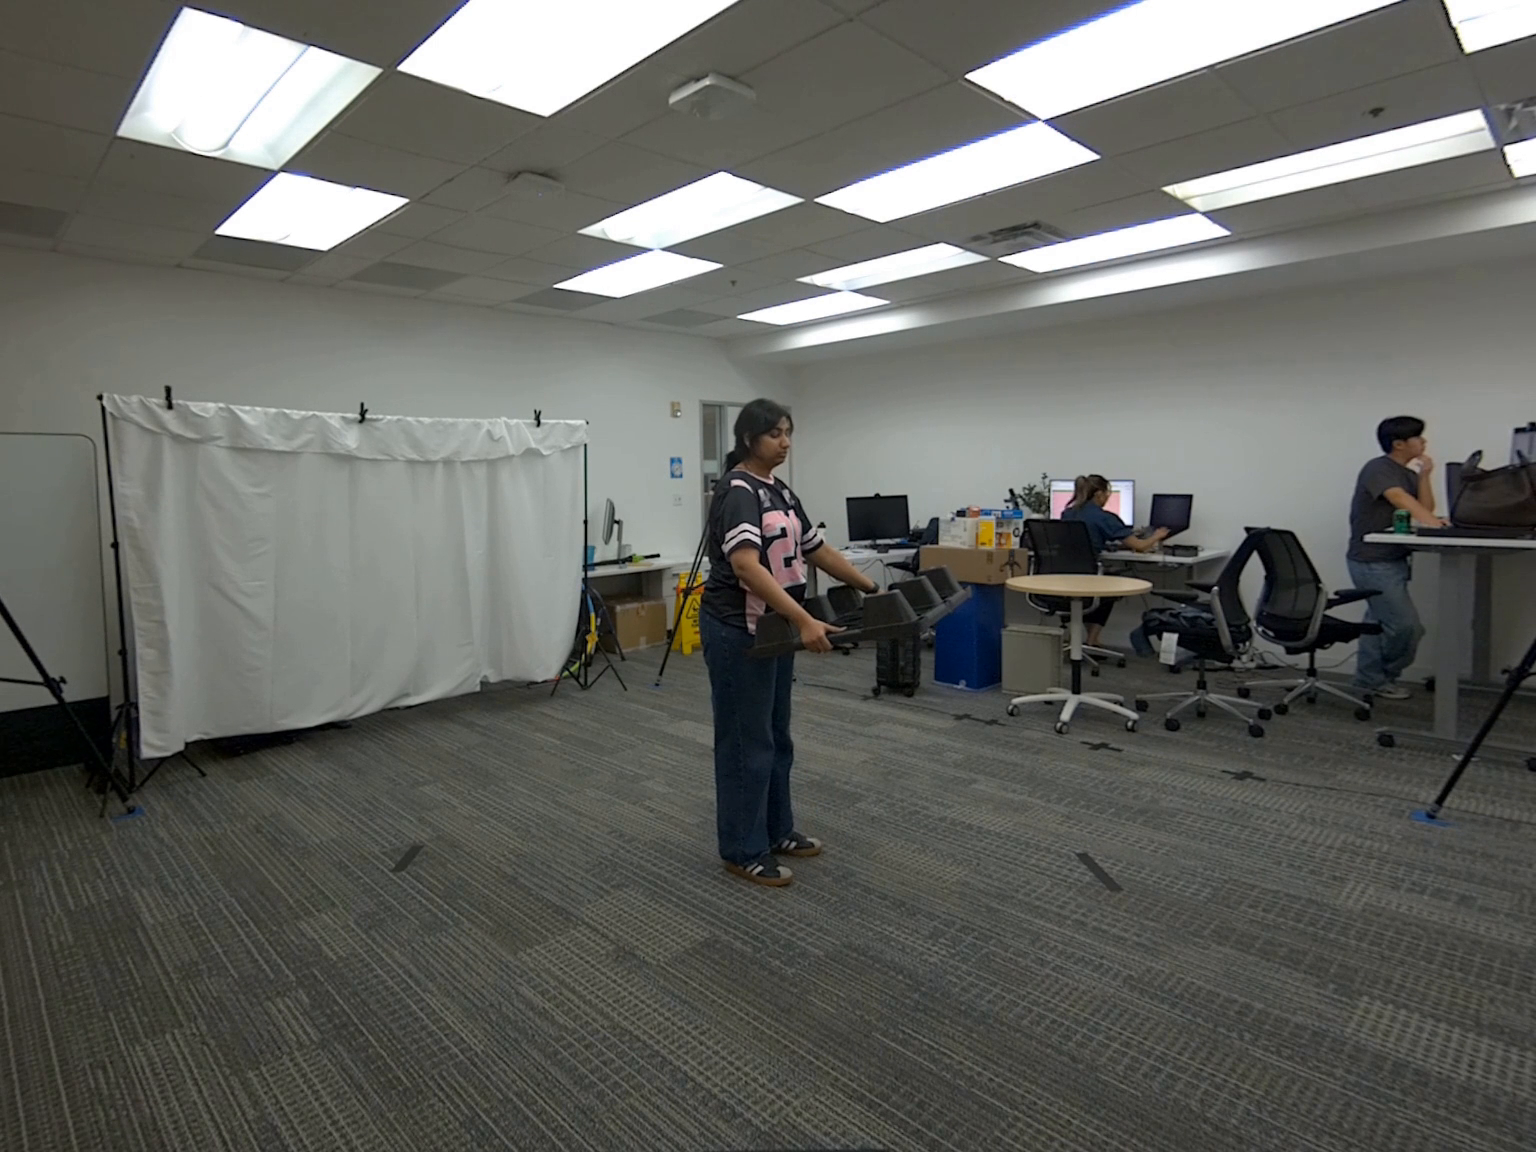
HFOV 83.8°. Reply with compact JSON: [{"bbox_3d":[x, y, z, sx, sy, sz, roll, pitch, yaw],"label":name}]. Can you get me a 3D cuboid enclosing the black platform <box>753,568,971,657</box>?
[{"bbox_3d":[0.334,0.114,2.977,0.616,0.143,0.792,-12,2,25],"label":"black platform"}]
